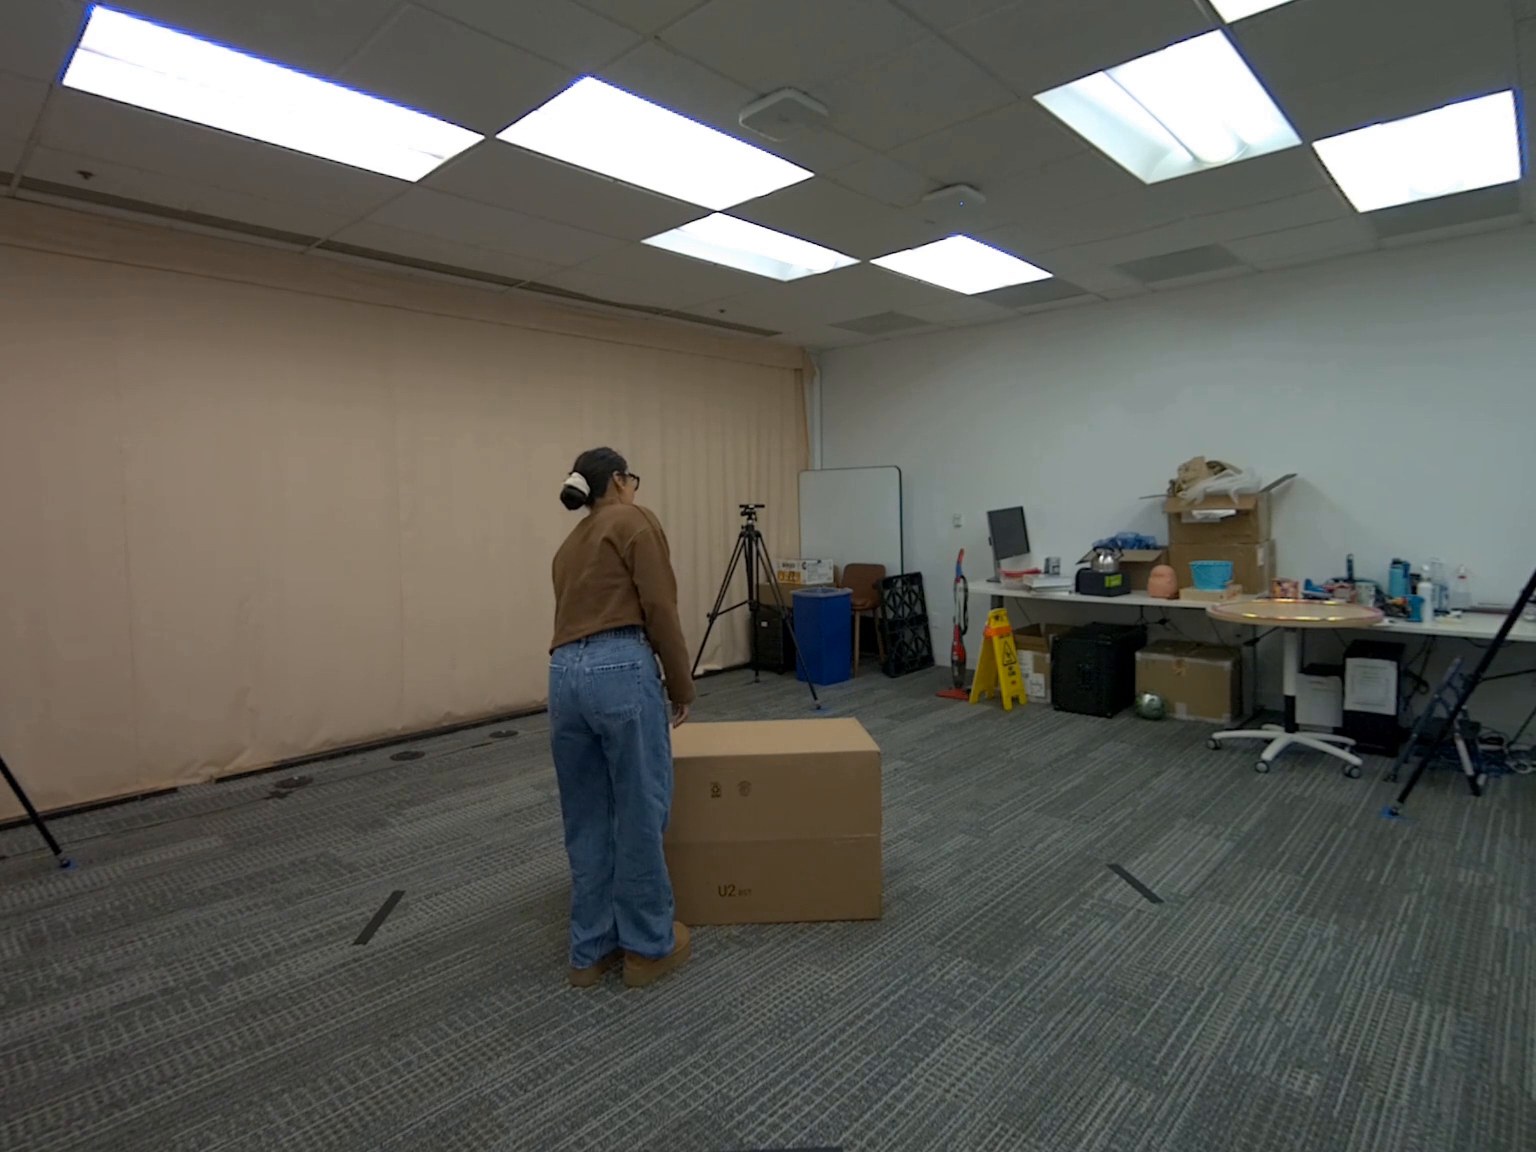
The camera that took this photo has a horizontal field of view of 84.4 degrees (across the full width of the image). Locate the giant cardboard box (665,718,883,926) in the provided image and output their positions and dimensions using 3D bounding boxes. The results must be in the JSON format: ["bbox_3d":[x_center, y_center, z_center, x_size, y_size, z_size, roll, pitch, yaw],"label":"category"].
[{"bbox_3d":[-0.148,0.856,2.988,1.026,0.582,0.449,-1,5,-1],"label":"giant cardboard box"}]
